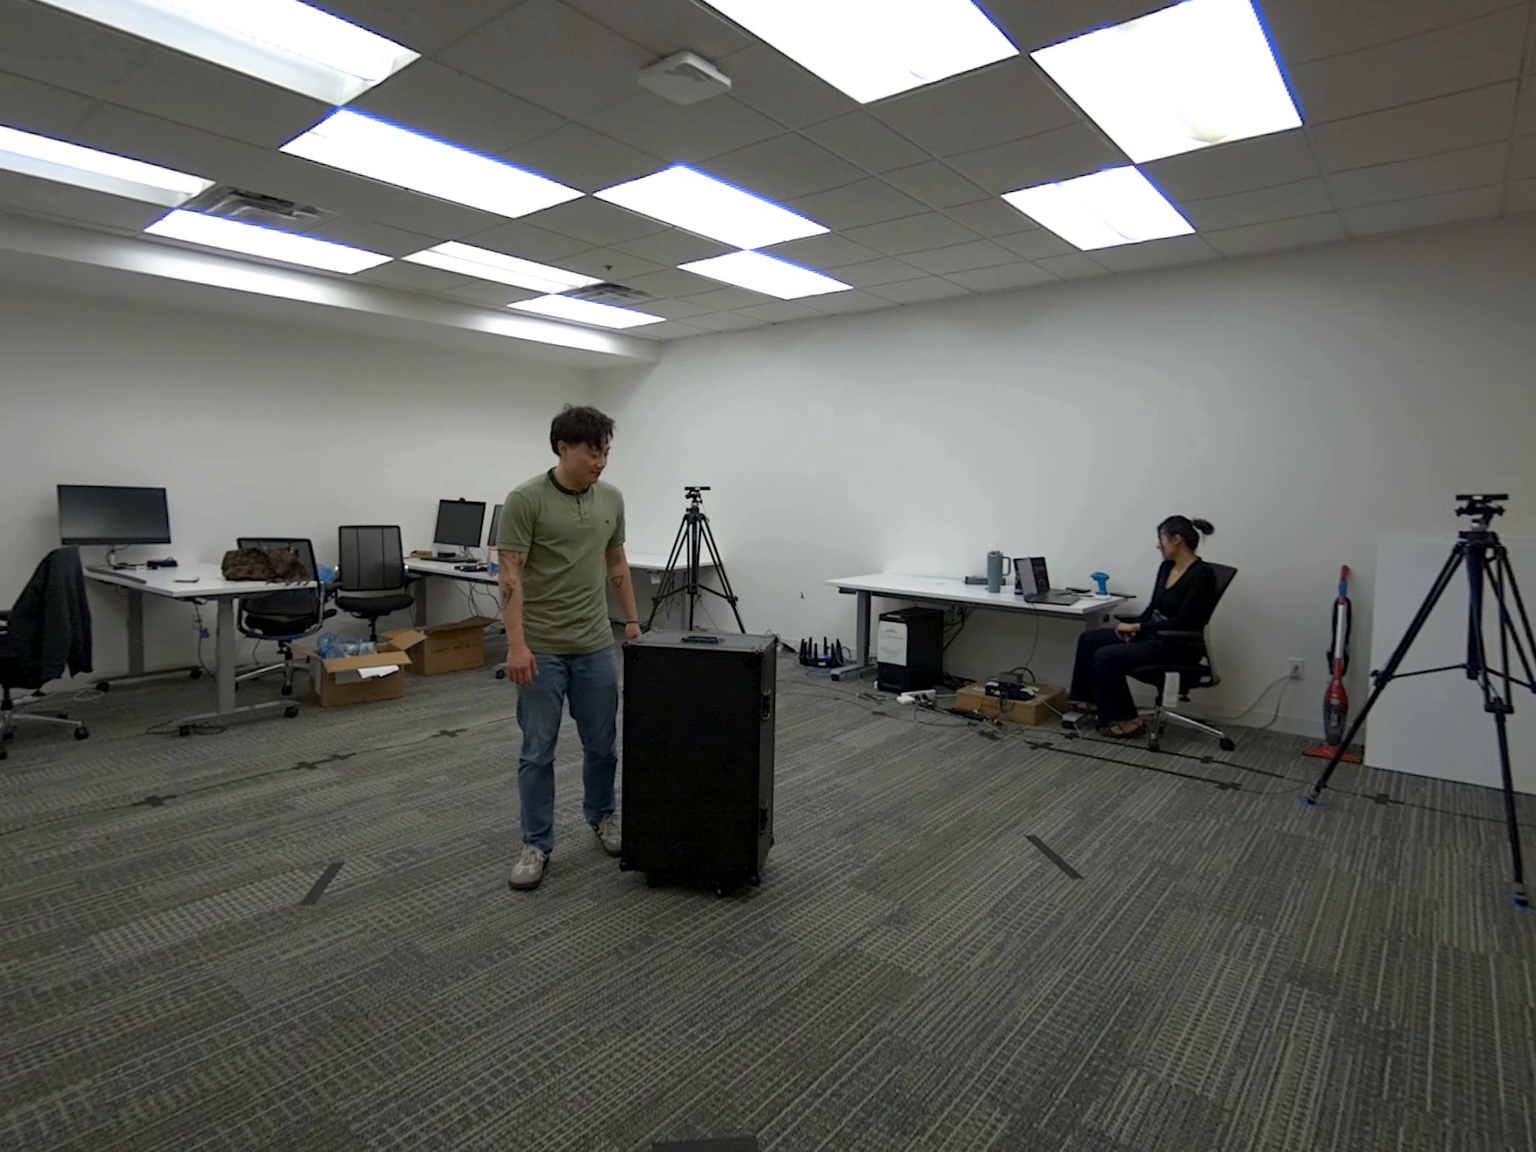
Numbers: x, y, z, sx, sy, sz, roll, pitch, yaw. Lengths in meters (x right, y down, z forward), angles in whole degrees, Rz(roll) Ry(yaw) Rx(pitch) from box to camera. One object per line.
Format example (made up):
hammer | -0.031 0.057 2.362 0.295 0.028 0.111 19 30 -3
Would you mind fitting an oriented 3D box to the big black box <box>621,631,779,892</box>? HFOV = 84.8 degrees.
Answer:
big black box | -0.248 0.650 3.032 0.528 0.860 0.392 1 2 12
